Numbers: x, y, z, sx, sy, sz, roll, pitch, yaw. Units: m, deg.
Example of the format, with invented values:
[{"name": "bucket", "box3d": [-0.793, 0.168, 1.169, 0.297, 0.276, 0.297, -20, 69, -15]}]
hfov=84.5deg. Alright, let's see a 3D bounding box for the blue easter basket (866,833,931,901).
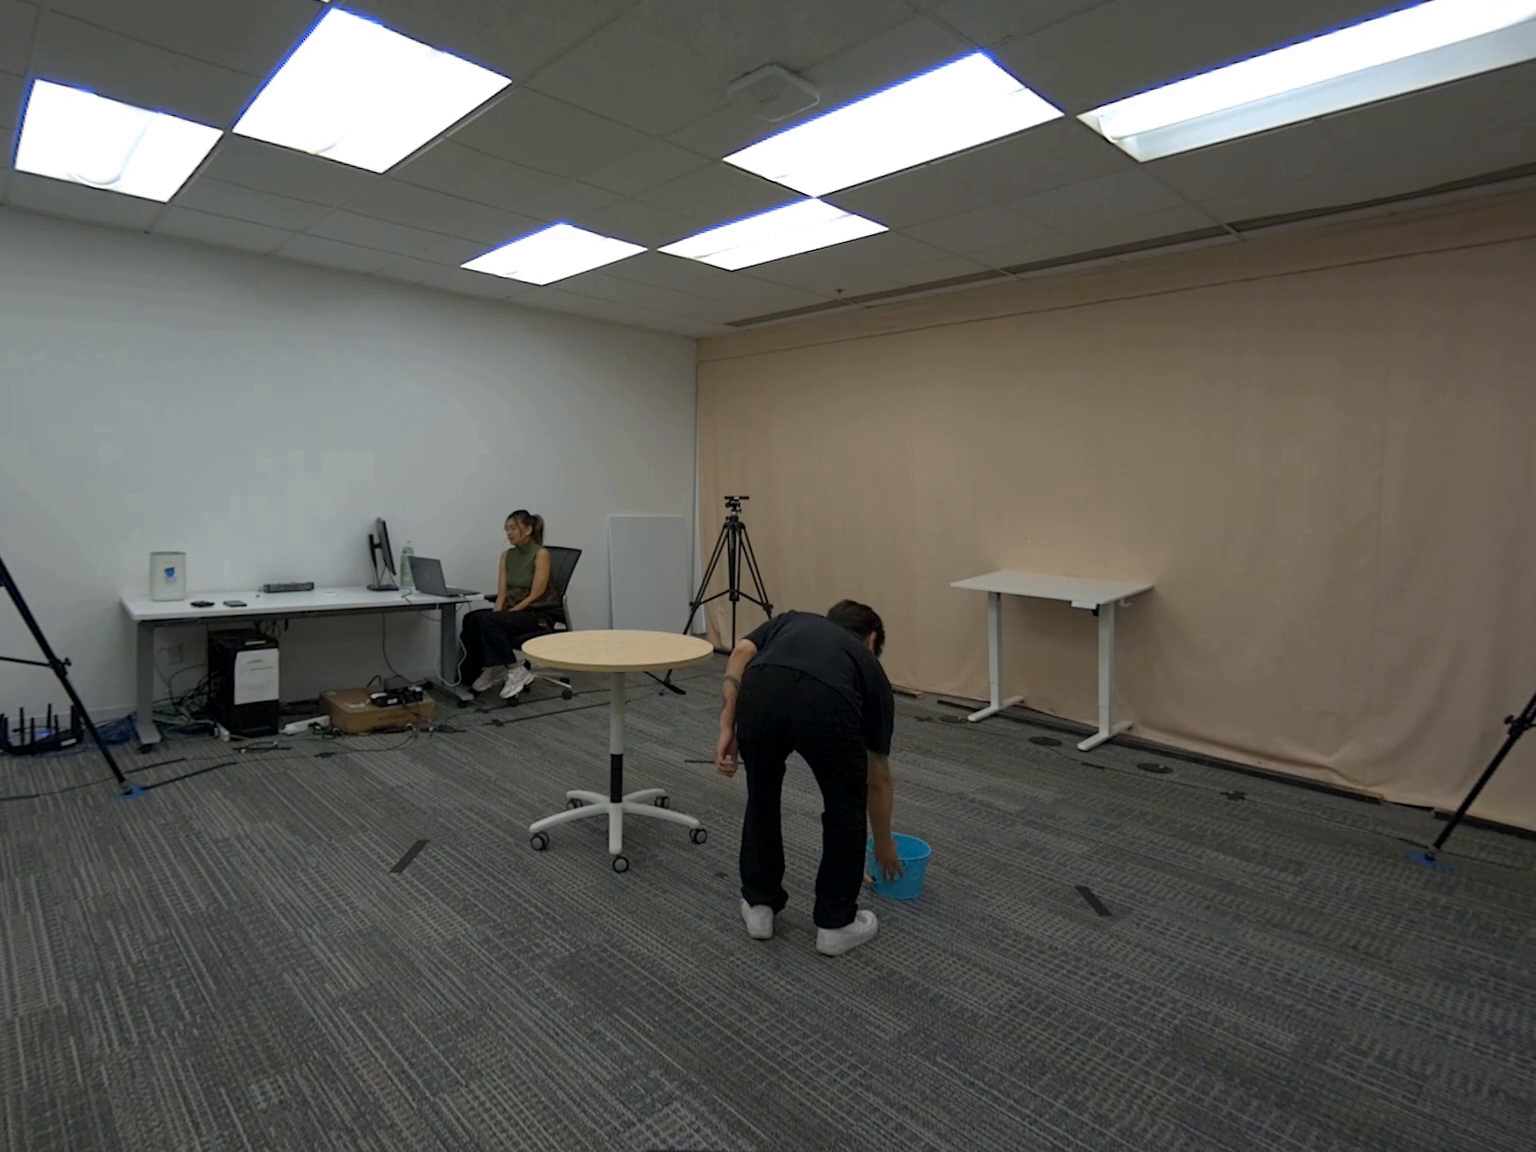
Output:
[{"name": "blue easter basket", "box3d": [0.454, 1.046, 3.038, 0.243, 0.155, 0.244, 1, 5, -1]}]
